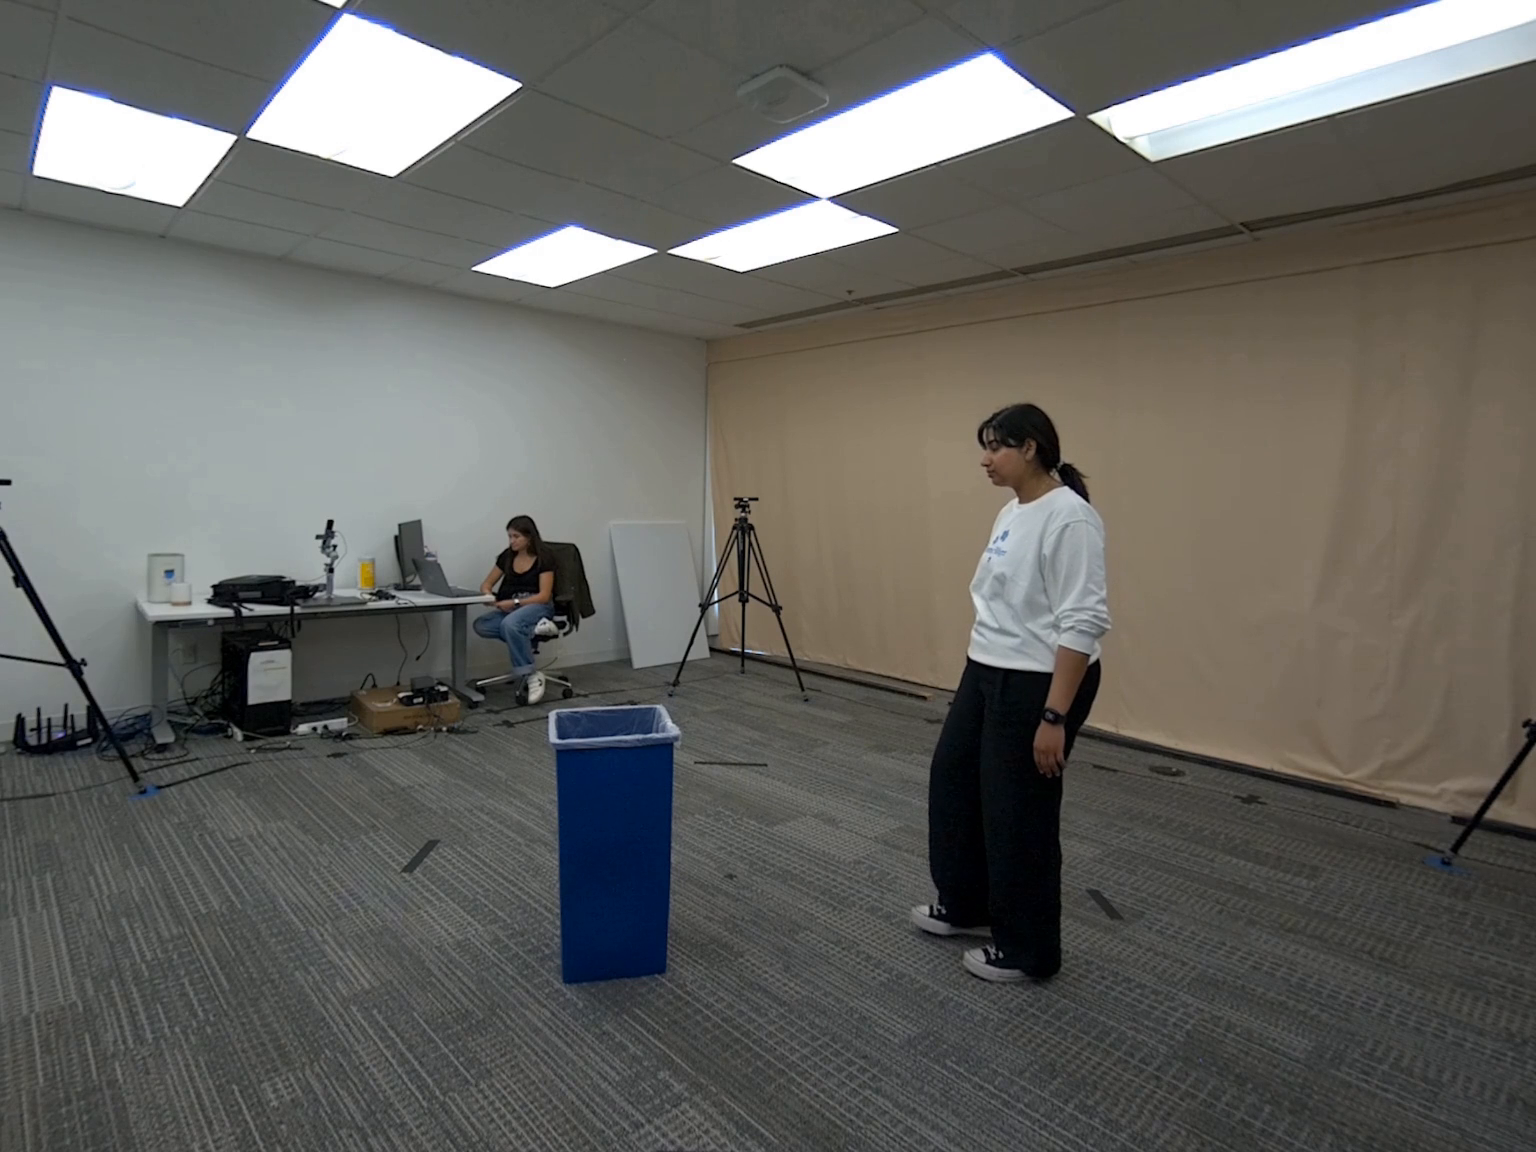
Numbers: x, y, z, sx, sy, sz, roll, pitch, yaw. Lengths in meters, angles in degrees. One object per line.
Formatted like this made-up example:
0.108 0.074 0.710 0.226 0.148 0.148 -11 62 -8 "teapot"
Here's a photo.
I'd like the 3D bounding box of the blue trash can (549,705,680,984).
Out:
-0.479 0.791 2.555 0.370 0.712 0.383 0 3 -13 "blue trash can"
